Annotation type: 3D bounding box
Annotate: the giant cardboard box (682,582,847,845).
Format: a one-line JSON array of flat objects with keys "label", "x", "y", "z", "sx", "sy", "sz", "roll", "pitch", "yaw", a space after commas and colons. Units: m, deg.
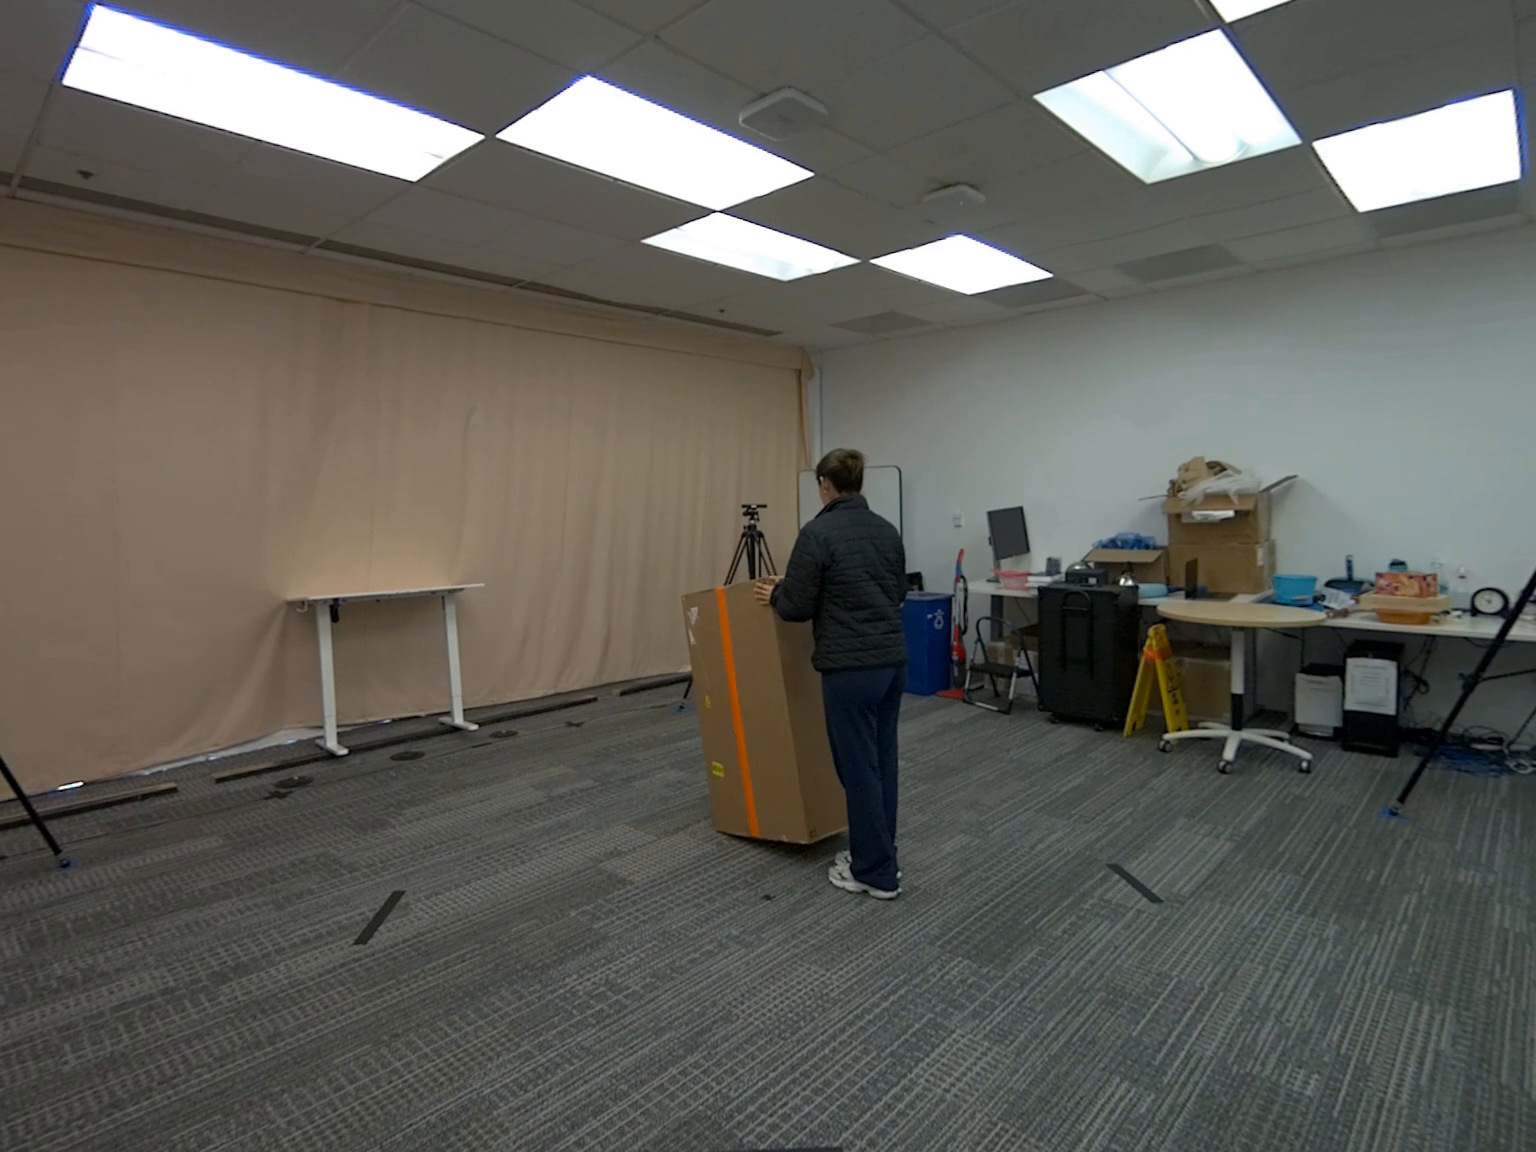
[{"label": "giant cardboard box", "x": 0.038, "y": 0.536, "z": 3.573, "sx": 0.413, "sy": 1.030, "sz": 0.592, "roll": -5, "pitch": -6, "yaw": -41}]
